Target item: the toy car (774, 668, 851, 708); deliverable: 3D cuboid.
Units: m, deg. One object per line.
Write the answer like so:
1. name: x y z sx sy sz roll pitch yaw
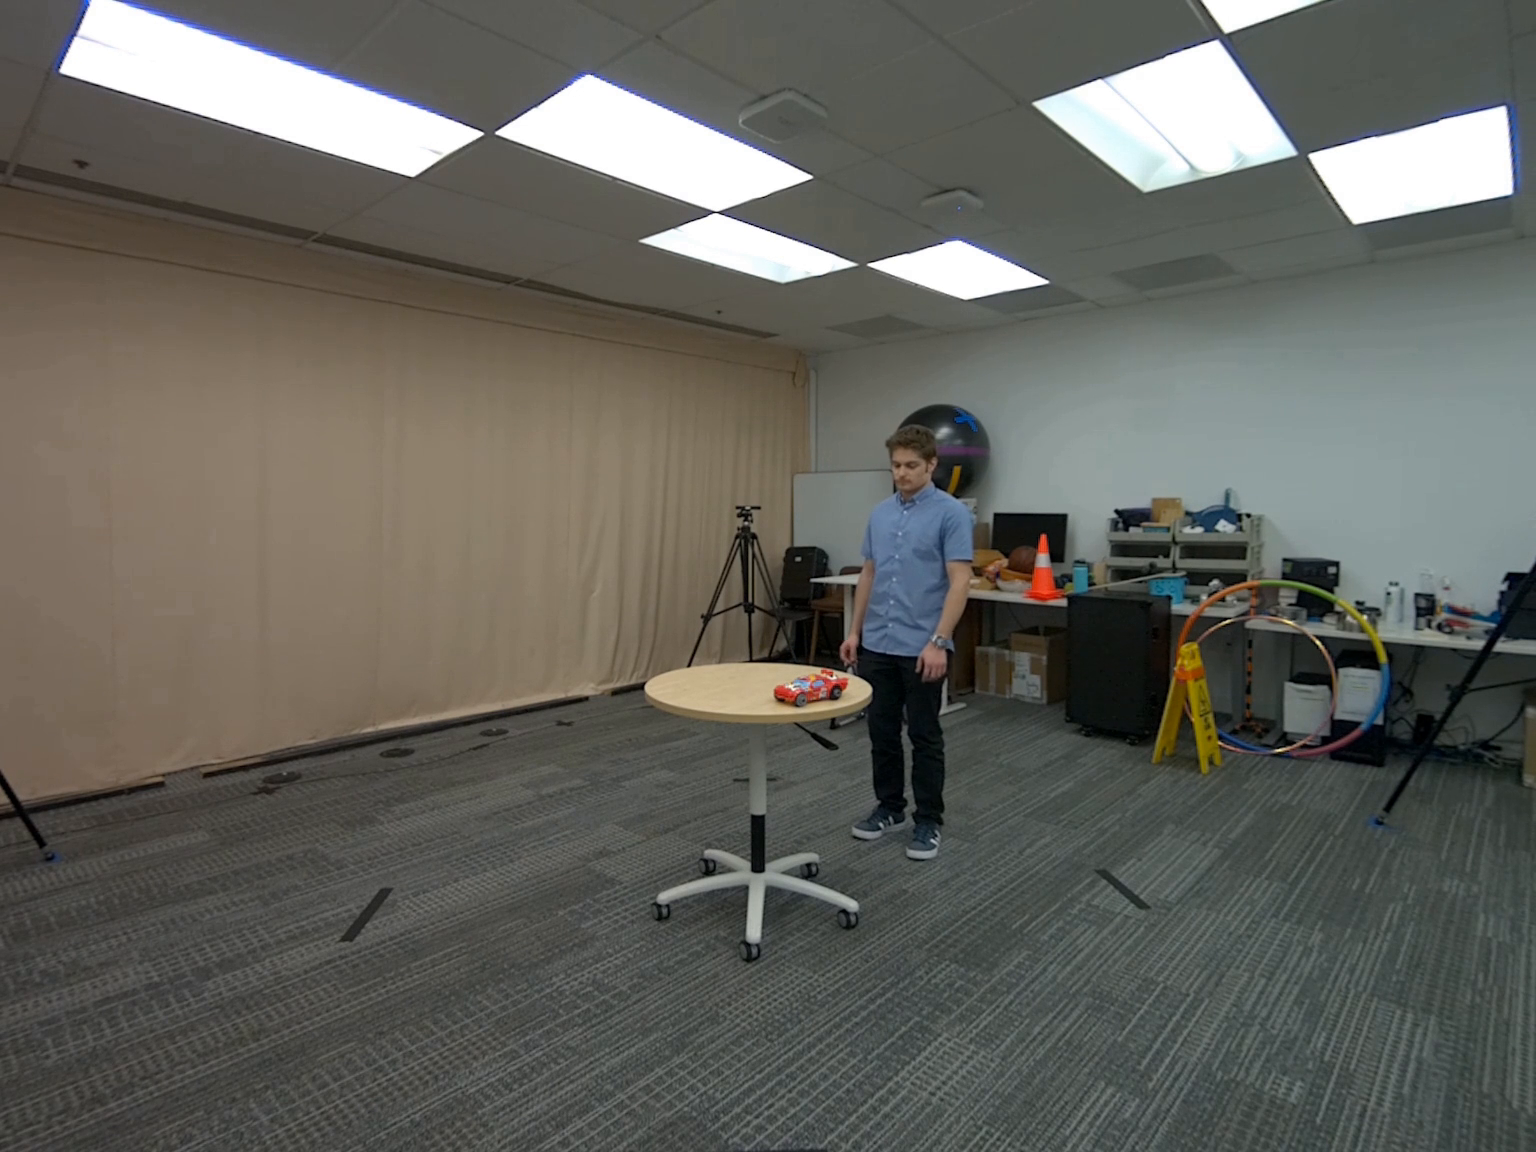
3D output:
1. toy car: 0.149 0.358 2.653 0.248 0.082 0.134 -18 14 -34
